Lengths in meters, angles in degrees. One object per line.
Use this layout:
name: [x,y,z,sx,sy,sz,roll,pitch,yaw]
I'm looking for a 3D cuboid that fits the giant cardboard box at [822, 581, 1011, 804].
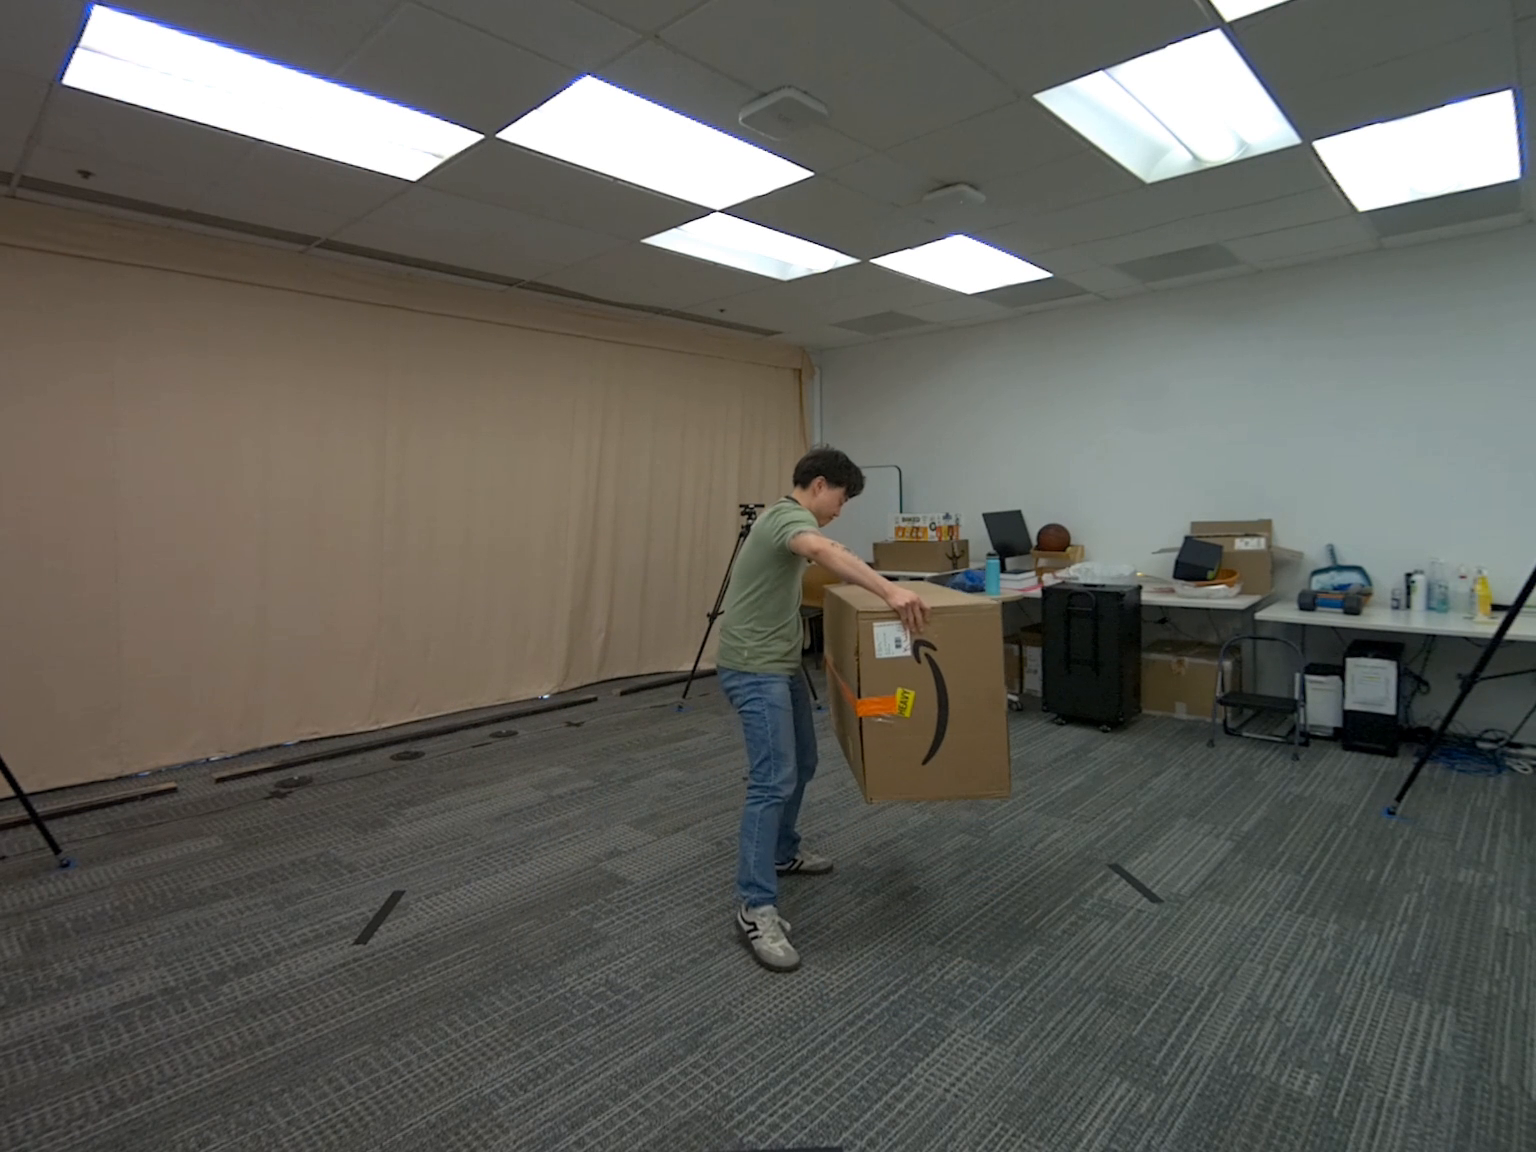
giant cardboard box: [0.465,0.349,2.954,0.426,0.577,1.026,-3,3,-1]
